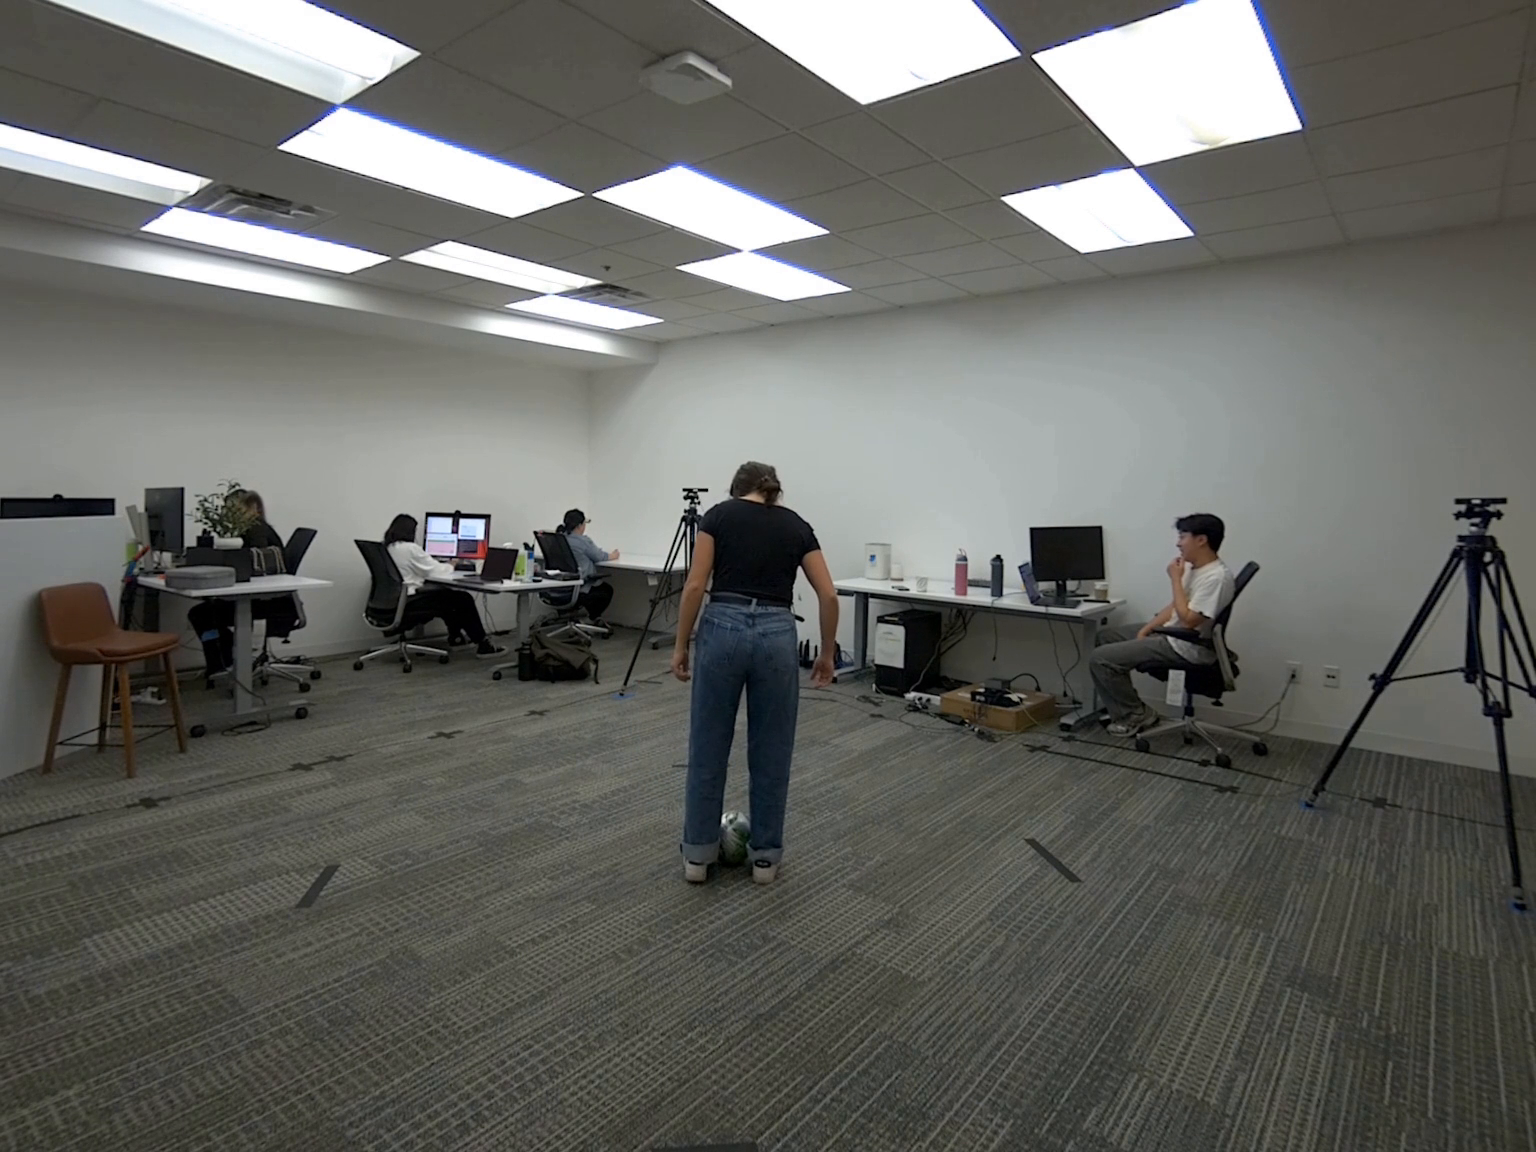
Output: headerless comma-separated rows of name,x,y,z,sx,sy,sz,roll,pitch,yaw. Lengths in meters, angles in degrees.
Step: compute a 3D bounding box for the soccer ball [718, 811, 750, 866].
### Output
soccer ball,-0.137,0.973,3.173,0.187,0.187,0.188,1,4,-2
